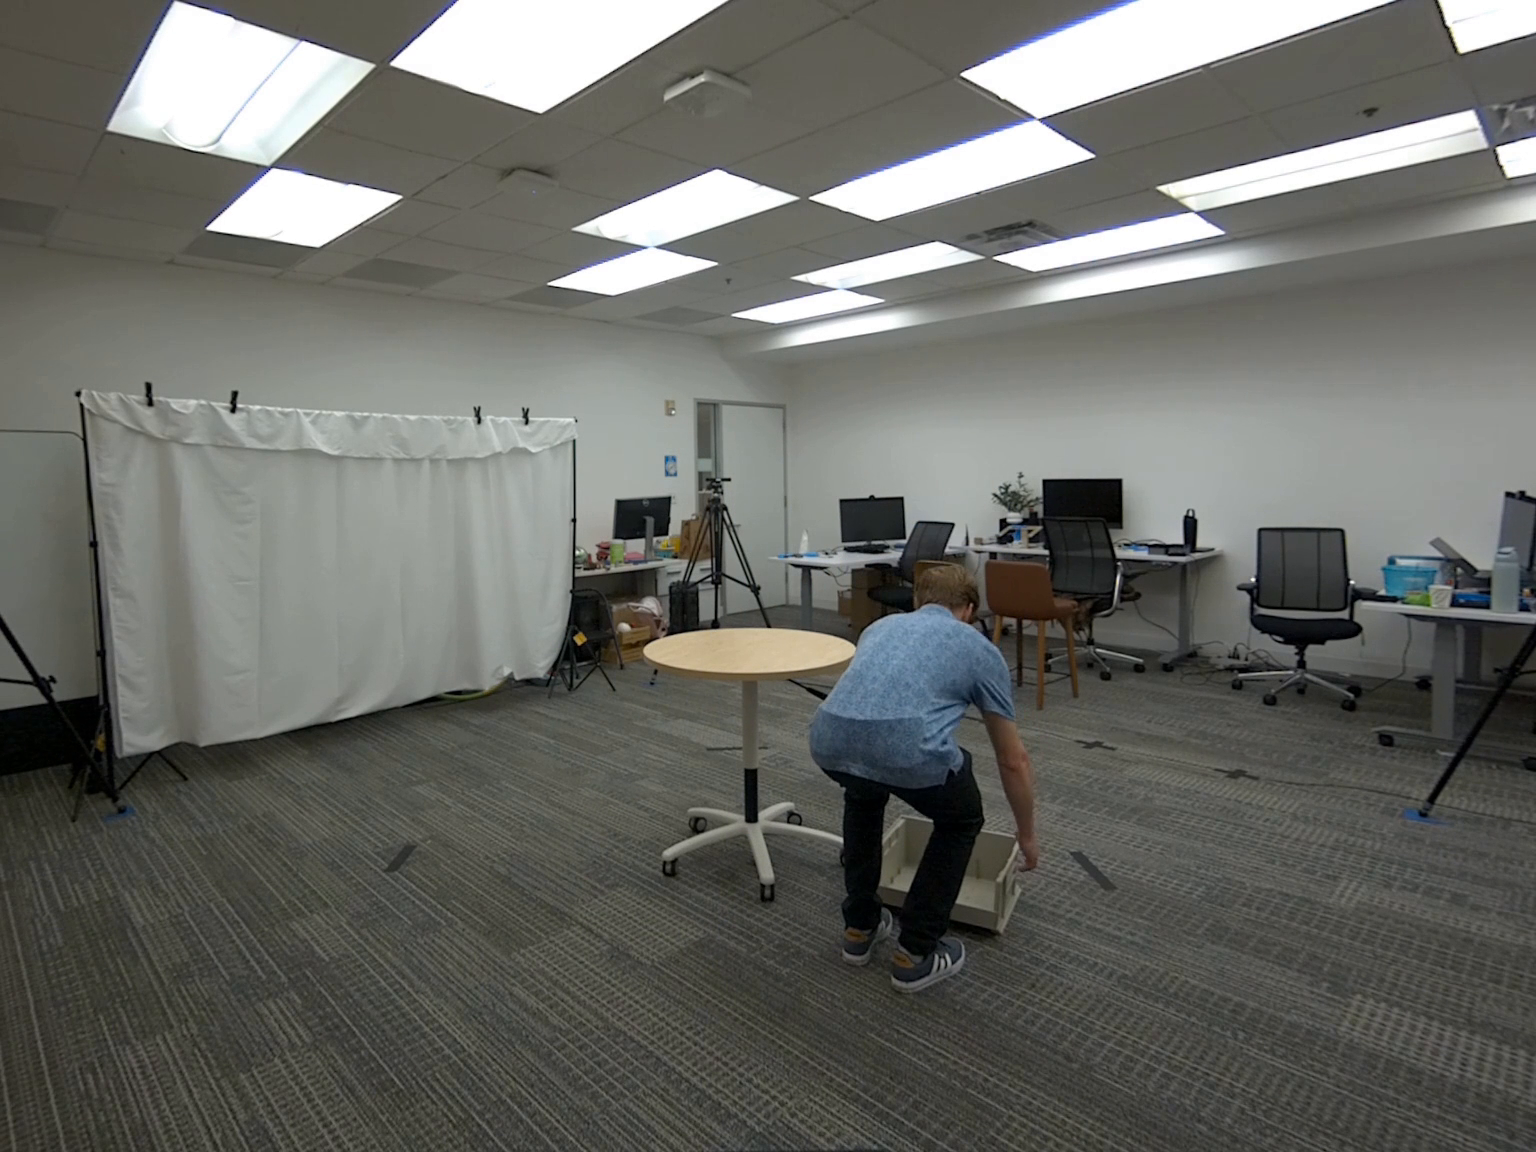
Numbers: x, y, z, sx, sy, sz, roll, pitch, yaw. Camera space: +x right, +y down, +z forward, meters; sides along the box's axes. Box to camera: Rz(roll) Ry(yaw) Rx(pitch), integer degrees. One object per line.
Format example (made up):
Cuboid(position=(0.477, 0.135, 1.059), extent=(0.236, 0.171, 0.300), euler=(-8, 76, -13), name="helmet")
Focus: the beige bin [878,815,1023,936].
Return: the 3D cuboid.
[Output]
Cuboid(position=(0.590, 0.980, 2.805), extent=(0.433, 0.188, 0.369), euler=(2, 6, 29), name="beige bin")
